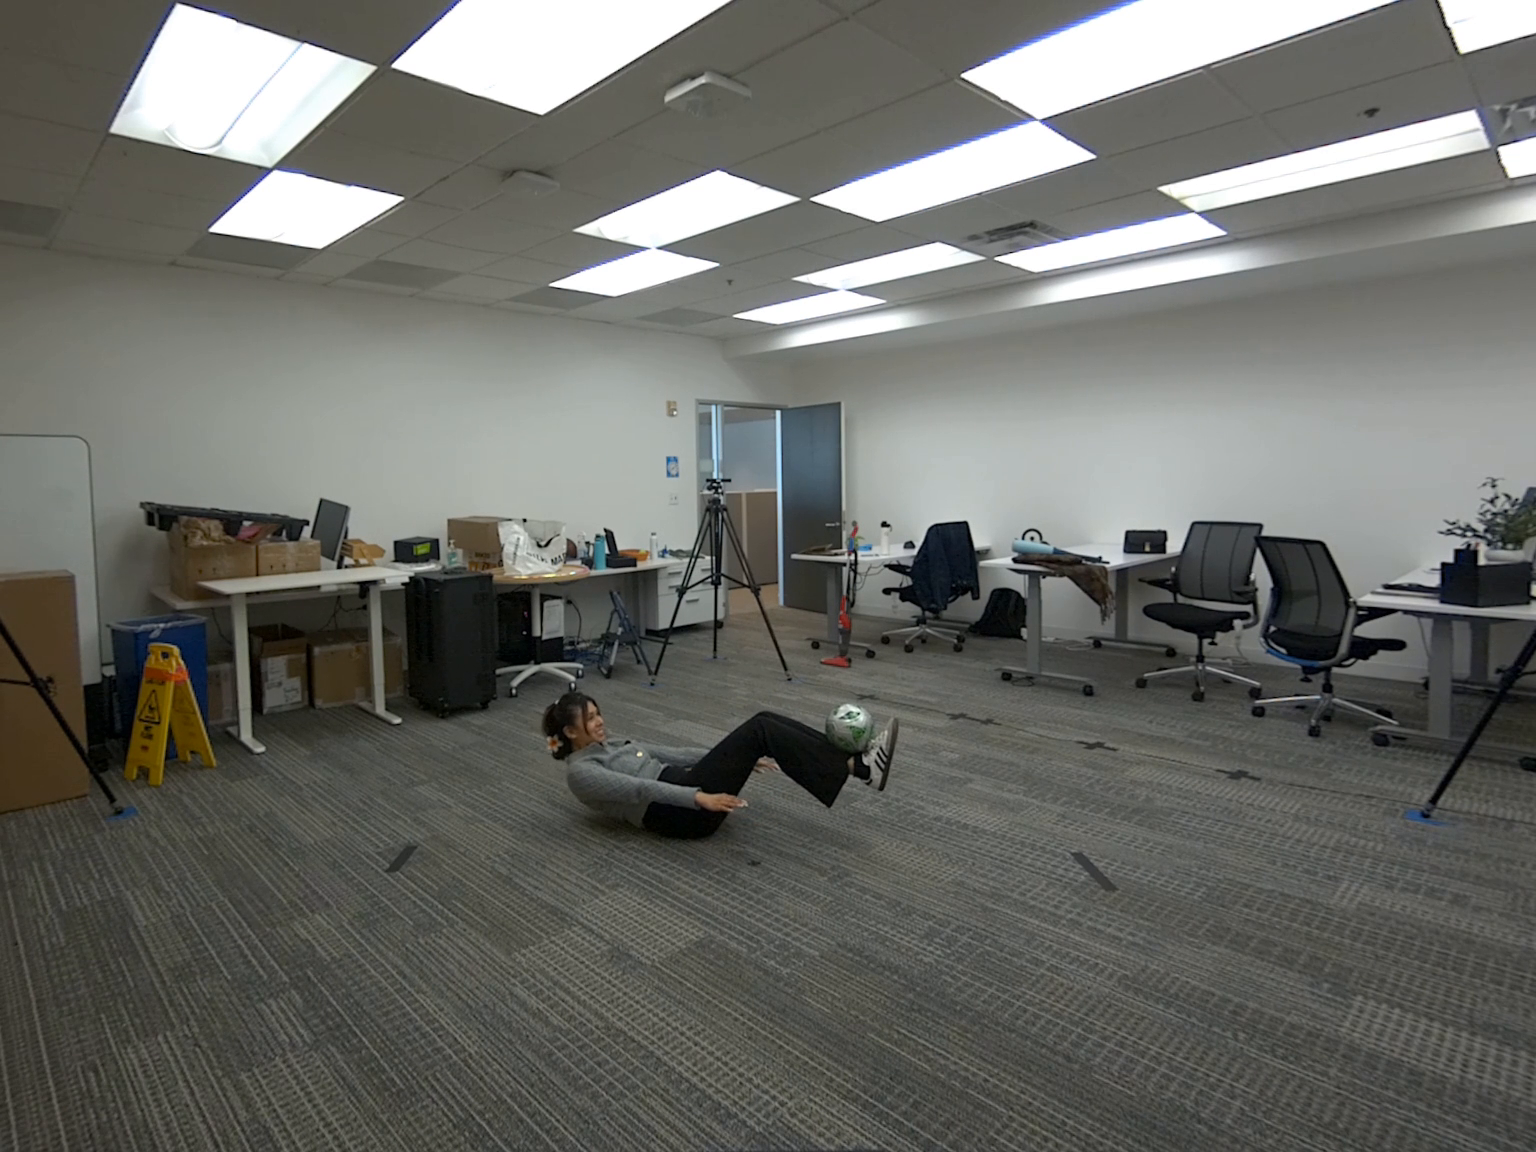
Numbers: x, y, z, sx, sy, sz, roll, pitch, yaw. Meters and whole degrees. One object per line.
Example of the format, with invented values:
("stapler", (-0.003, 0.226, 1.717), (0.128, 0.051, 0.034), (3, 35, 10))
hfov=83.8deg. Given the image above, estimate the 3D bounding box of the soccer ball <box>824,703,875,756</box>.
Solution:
("soccer ball", (0.310, 0.582, 3.265), (0.187, 0.187, 0.188), (-1, 5, -2))
